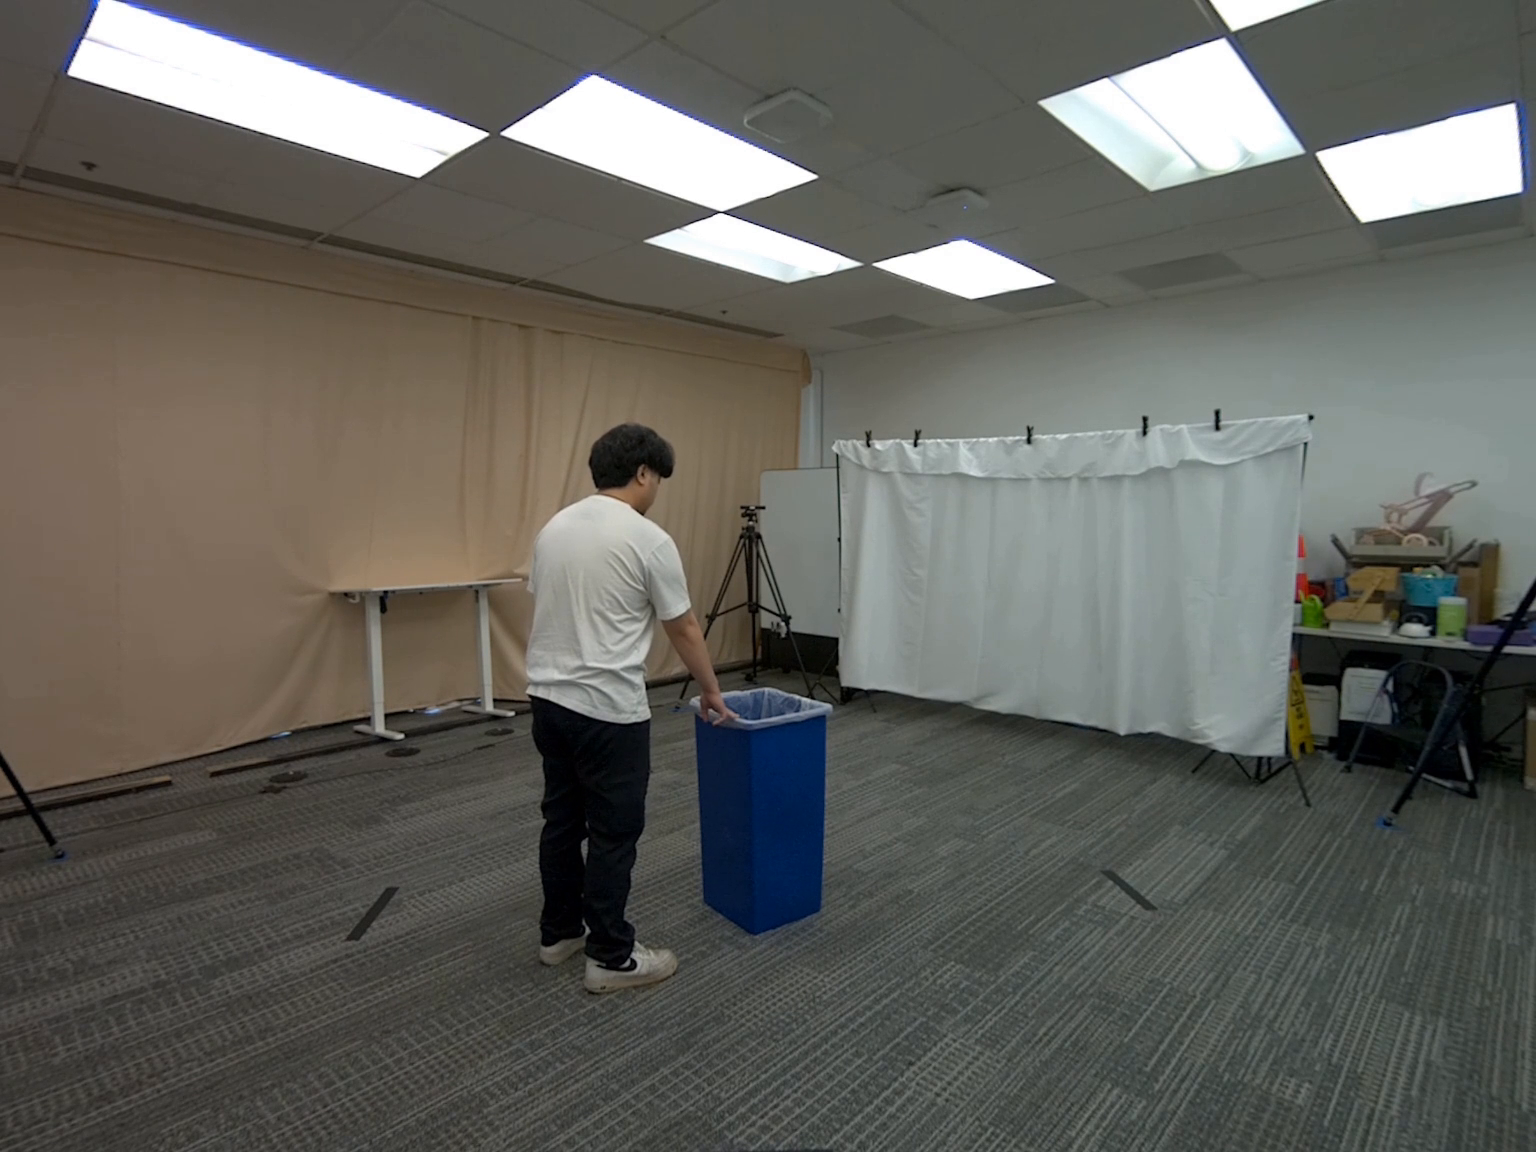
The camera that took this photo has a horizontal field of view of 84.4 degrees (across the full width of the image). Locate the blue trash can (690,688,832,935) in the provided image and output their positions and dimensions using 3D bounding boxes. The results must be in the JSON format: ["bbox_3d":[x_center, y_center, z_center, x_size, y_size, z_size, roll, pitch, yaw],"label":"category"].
[{"bbox_3d":[-0.026,0.793,2.907,0.363,0.712,0.390,-2,4,-37],"label":"blue trash can"}]
